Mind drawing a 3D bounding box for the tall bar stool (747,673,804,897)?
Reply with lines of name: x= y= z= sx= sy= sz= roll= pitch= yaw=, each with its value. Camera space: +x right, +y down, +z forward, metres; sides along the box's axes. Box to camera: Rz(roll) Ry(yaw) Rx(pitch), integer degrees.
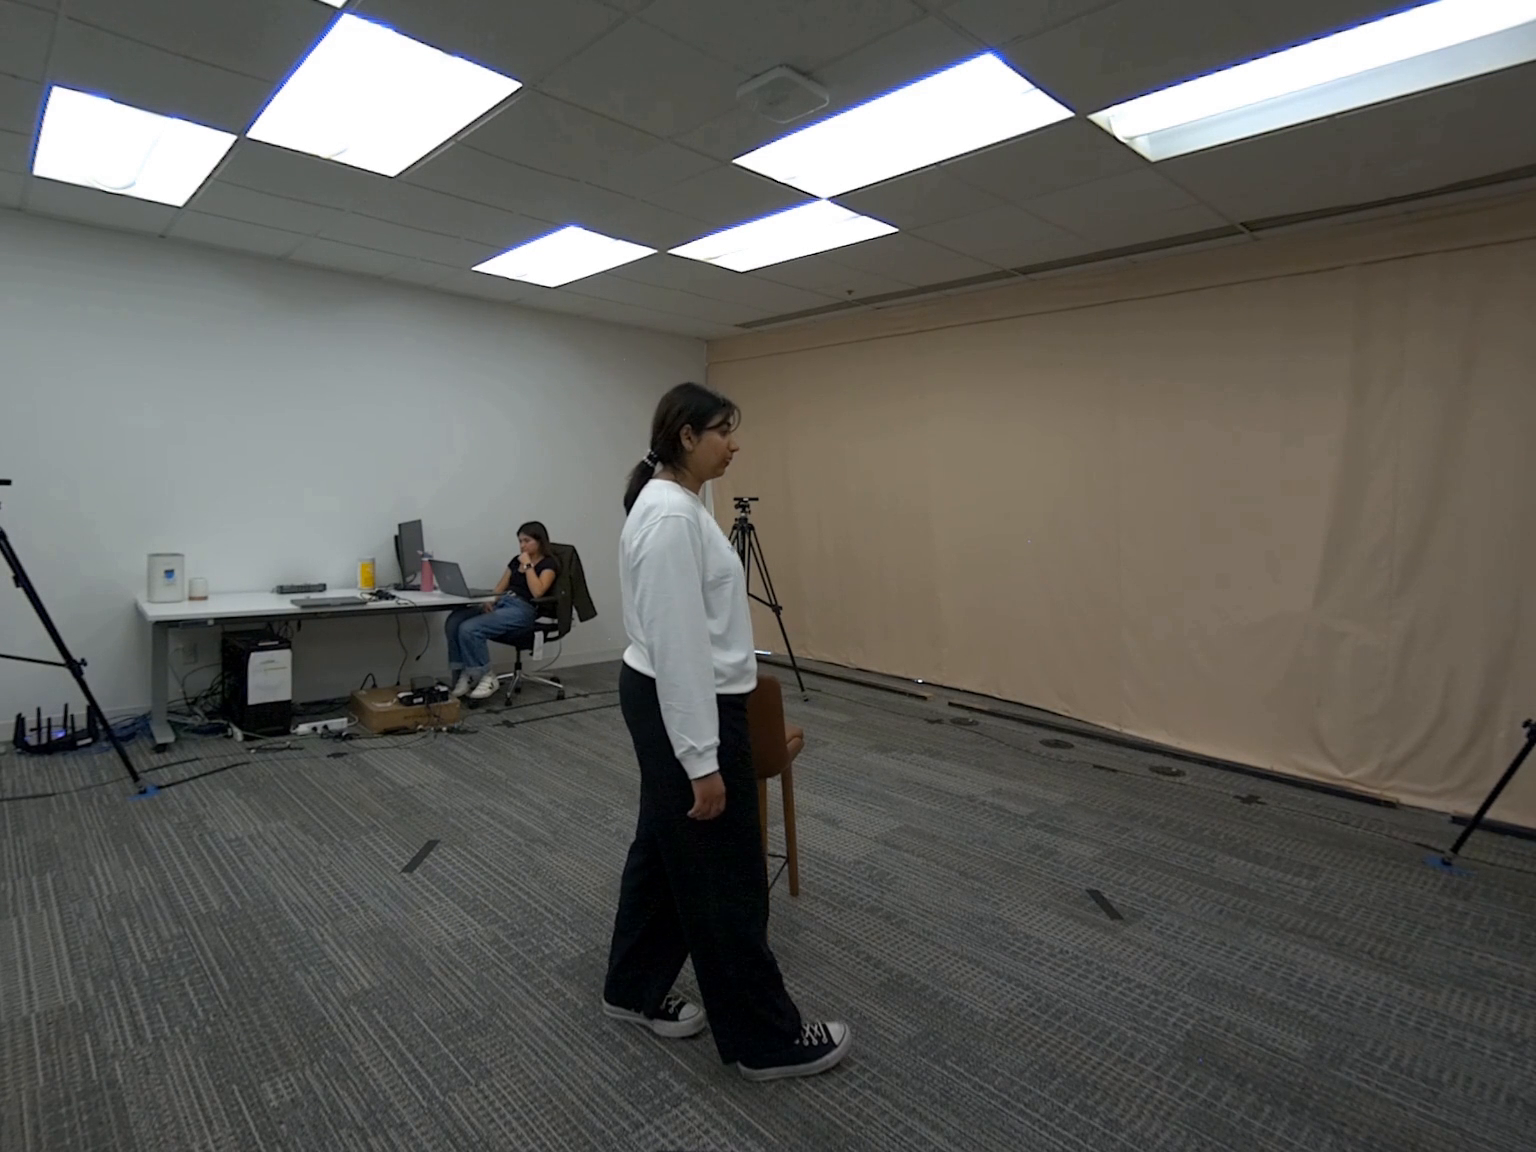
tall bar stool: x=-0.132 y=0.702 z=2.782 sx=0.462 sy=0.886 sz=0.463 roll=3 pitch=6 yaw=15
